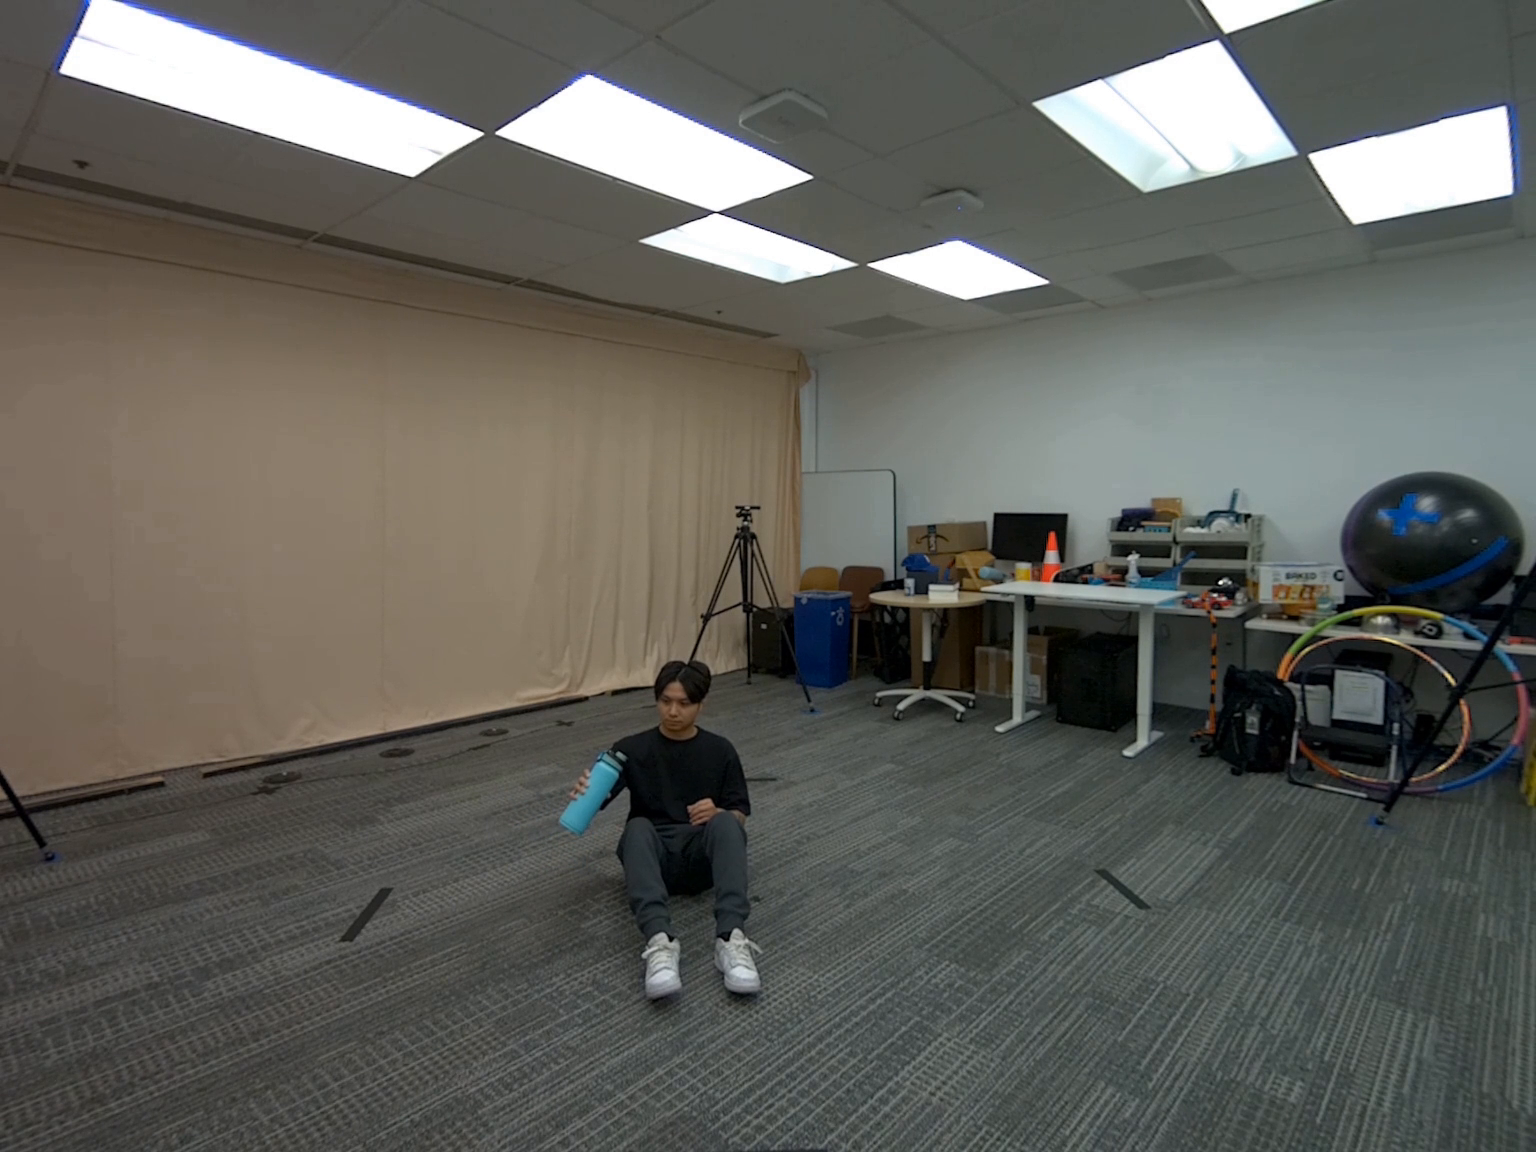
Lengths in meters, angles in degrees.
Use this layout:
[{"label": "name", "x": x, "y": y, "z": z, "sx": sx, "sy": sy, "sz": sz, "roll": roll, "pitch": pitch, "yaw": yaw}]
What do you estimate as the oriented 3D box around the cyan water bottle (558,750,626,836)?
[{"label": "cyan water bottle", "x": -0.566, "y": 0.700, "z": 2.738, "sx": 0.093, "sy": 0.283, "sz": 0.091, "roll": 27, "pitch": -16, "yaw": 6}]
